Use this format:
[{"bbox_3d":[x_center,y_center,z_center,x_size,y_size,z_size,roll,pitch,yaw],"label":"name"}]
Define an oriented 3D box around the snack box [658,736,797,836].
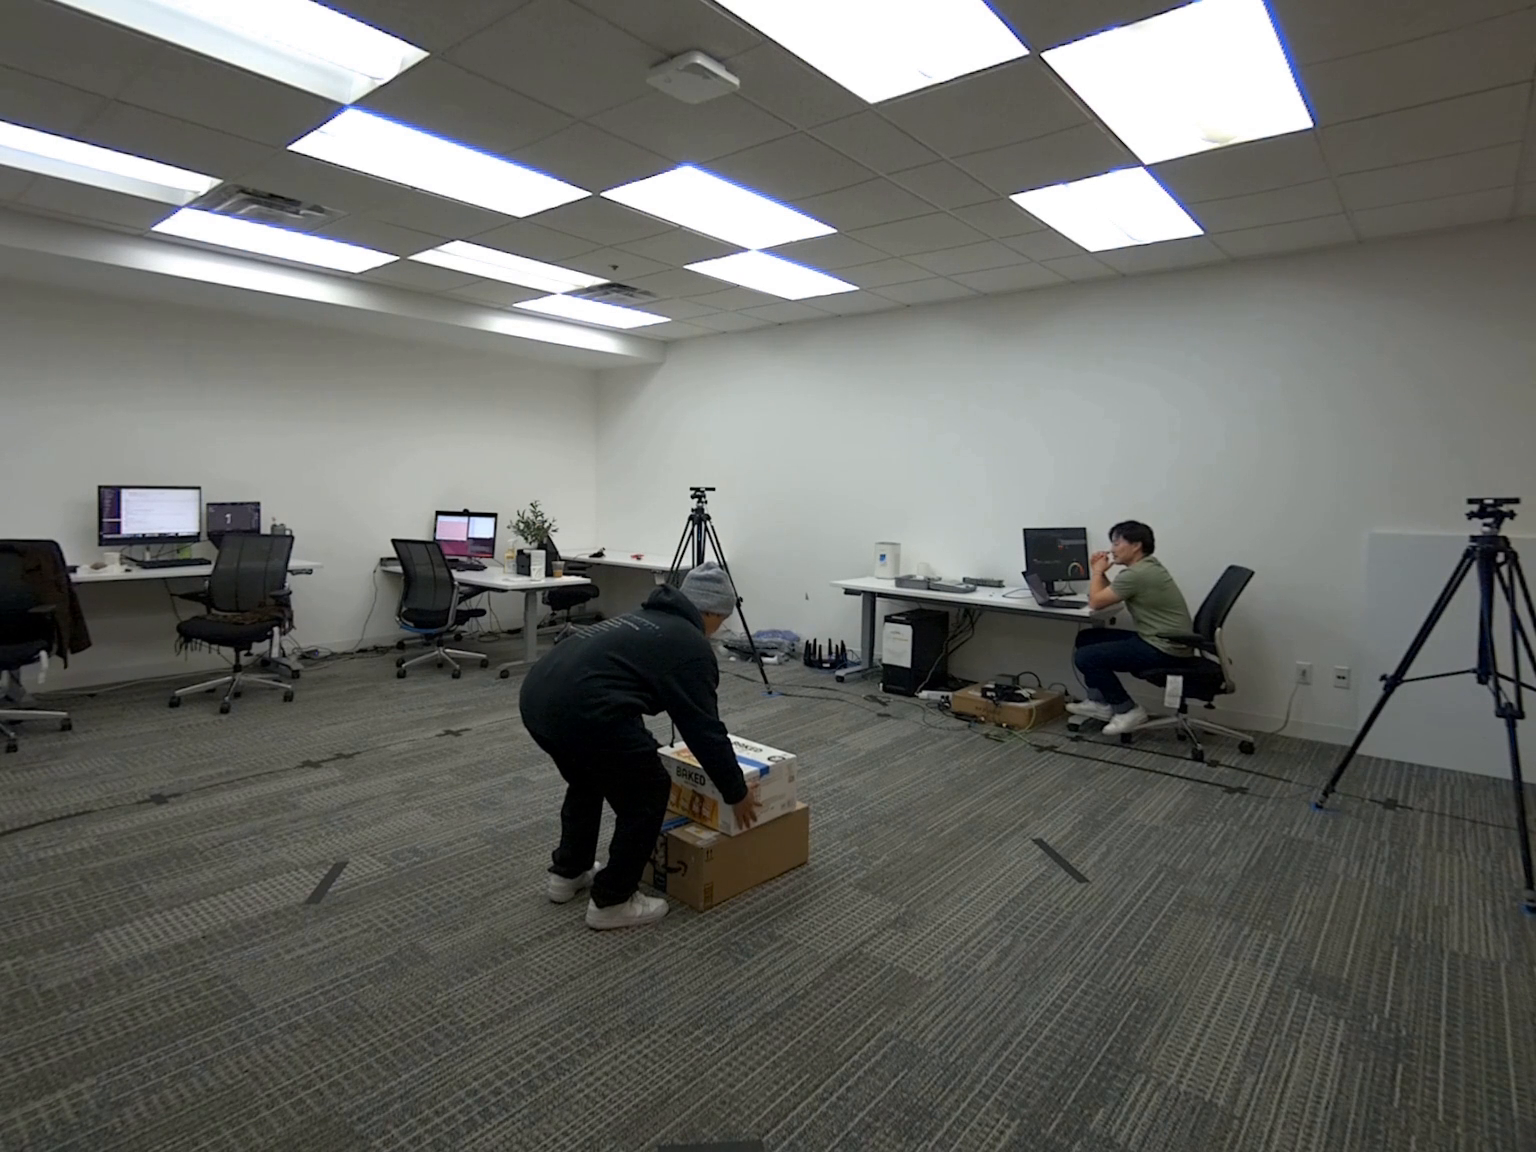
[{"bbox_3d":[-0.167,0.742,3.101,0.419,0.205,0.330,7,9,43],"label":"snack box"}]
